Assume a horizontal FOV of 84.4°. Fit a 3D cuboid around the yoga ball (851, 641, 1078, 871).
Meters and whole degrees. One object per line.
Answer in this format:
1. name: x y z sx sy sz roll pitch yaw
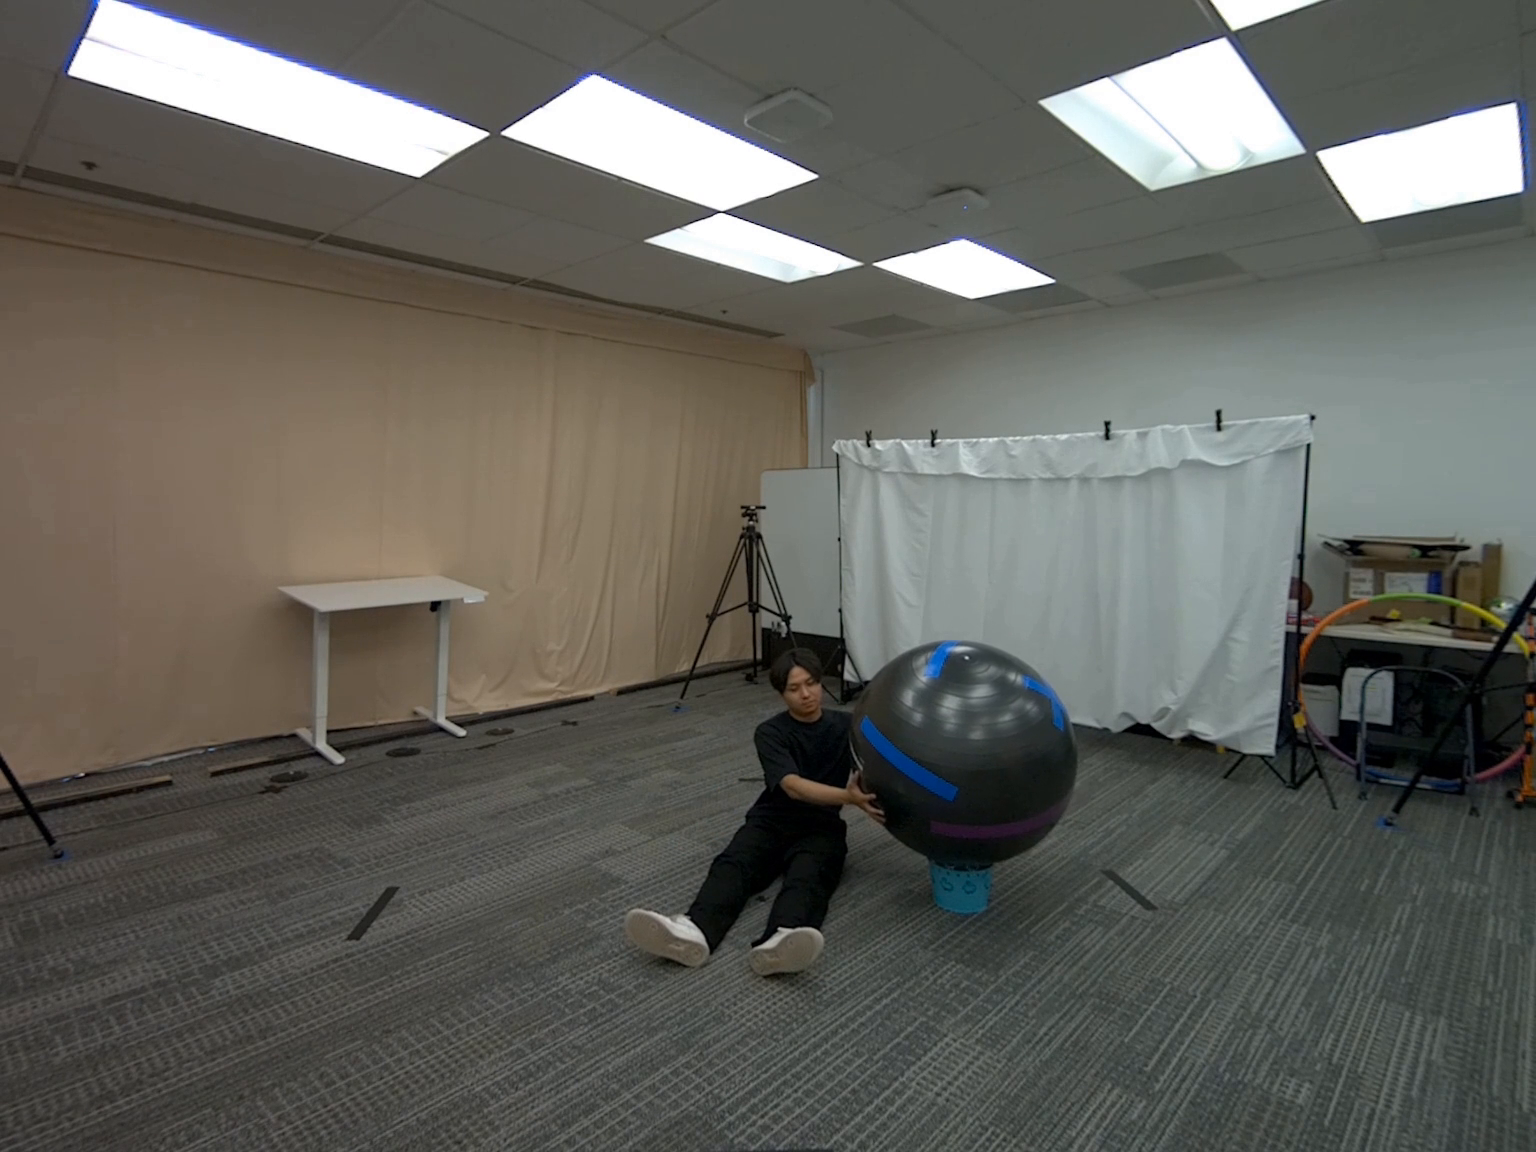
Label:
1. yoga ball: 0.680 0.614 2.936 0.757 0.756 0.760 0 4 -2
